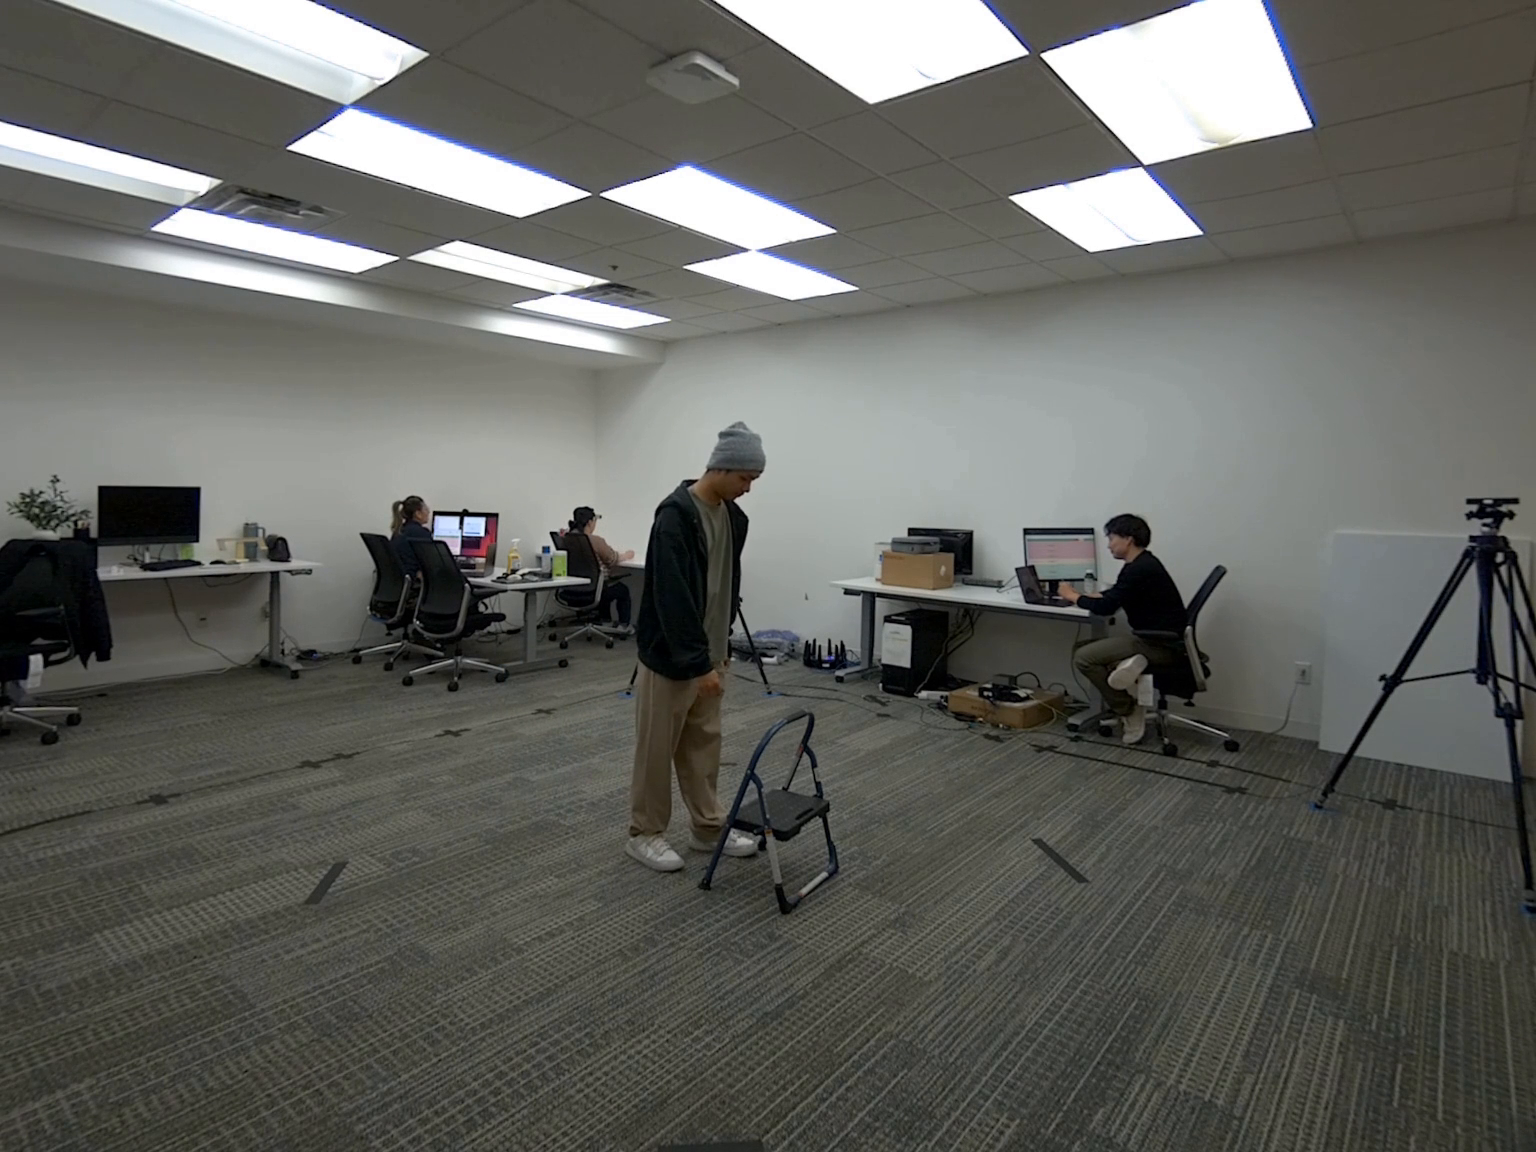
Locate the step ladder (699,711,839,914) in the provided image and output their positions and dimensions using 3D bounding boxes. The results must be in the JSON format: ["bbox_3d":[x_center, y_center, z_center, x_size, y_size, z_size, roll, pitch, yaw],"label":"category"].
[{"bbox_3d":[0.012,0.776,3.022,0.360,0.604,0.419,3,4,30],"label":"step ladder"}]
